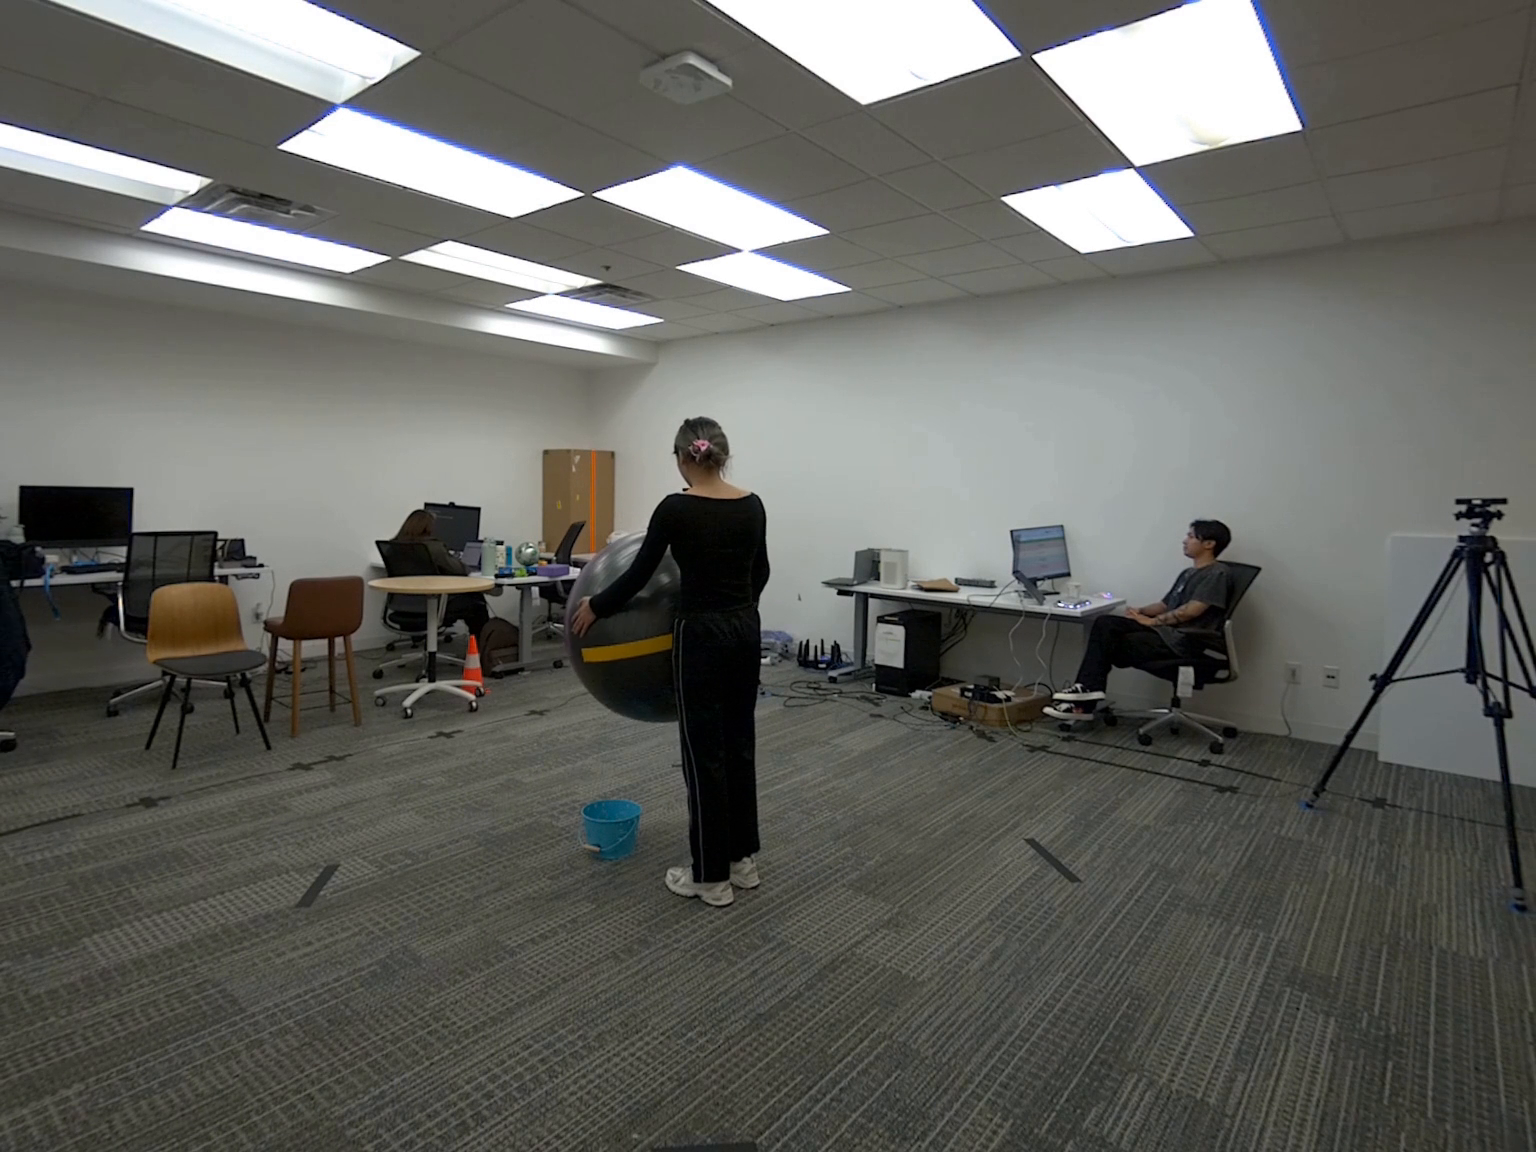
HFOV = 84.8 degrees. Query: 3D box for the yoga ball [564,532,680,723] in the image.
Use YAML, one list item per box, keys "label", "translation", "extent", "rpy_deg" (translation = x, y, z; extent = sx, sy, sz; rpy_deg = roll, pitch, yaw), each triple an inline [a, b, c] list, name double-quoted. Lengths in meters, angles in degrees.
- label: "yoga ball"
  translation: [-0.438, 0.204, 3.363]
  extent: [0.757, 0.755, 0.762]
  rpy_deg: [1, 4, -2]
